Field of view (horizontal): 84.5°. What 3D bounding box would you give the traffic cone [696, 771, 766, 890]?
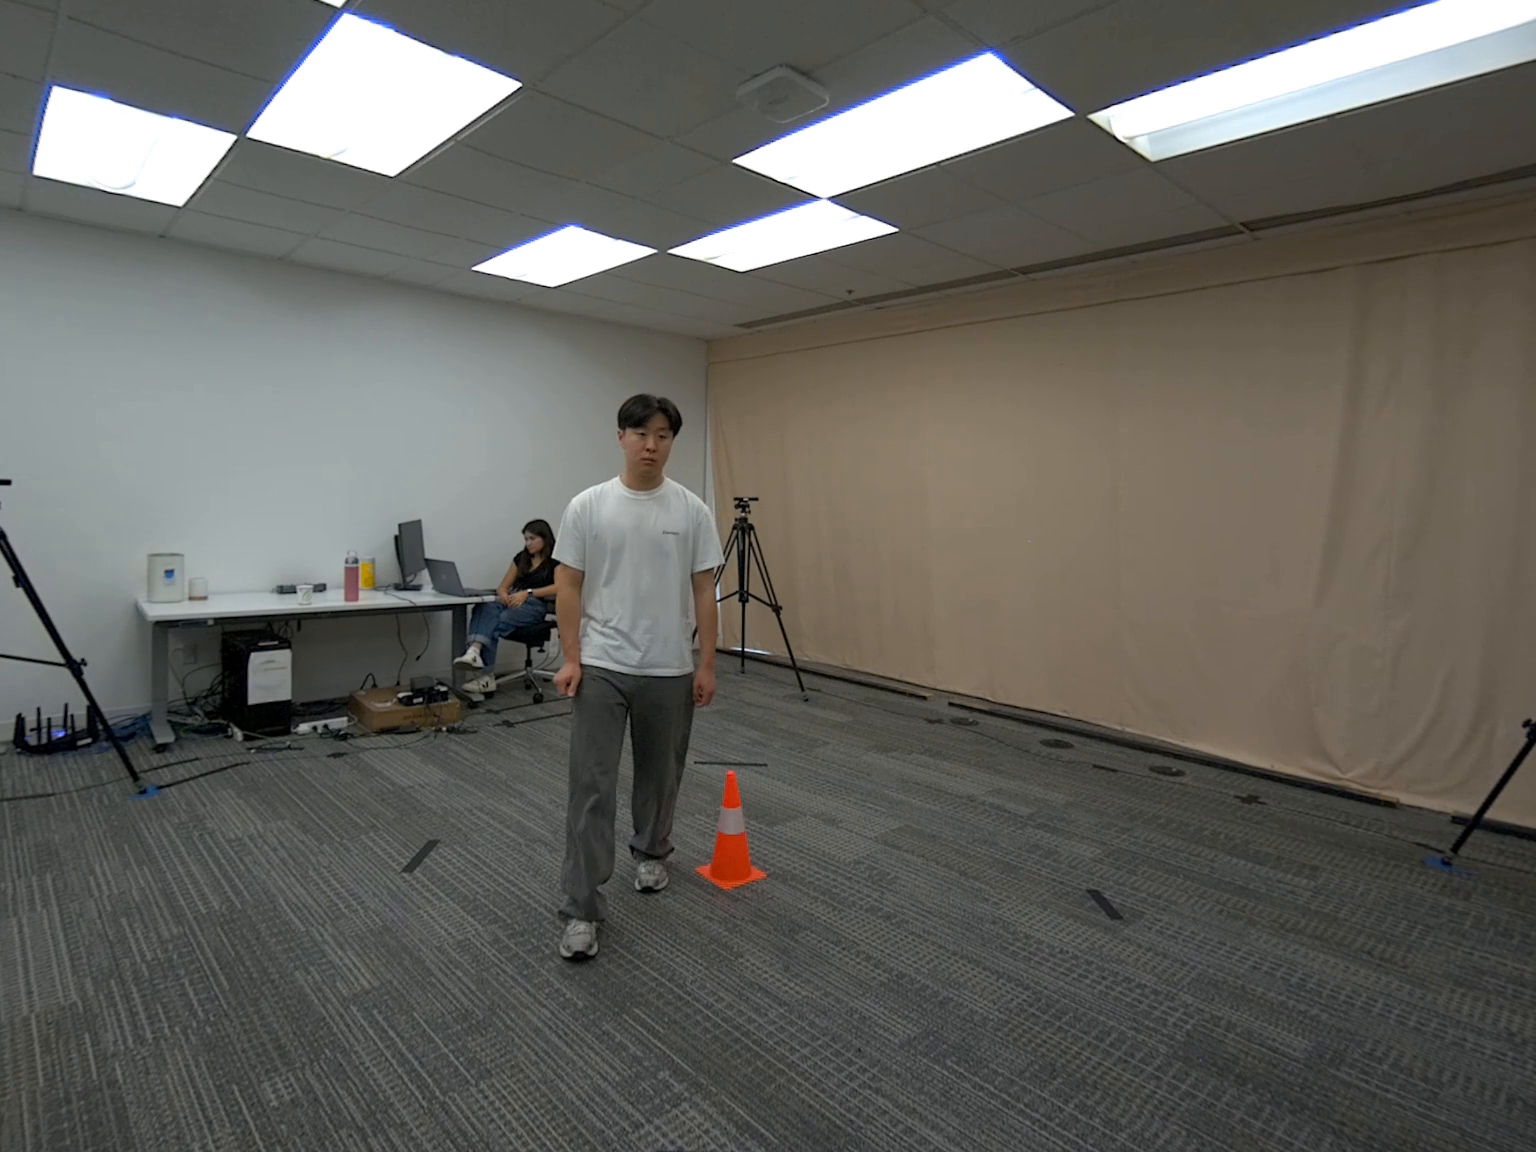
[{"bbox_3d":[-0.148,0.924,3.114,0.199,0.382,0.210,-3,6,-41],"label":"traffic cone"}]
